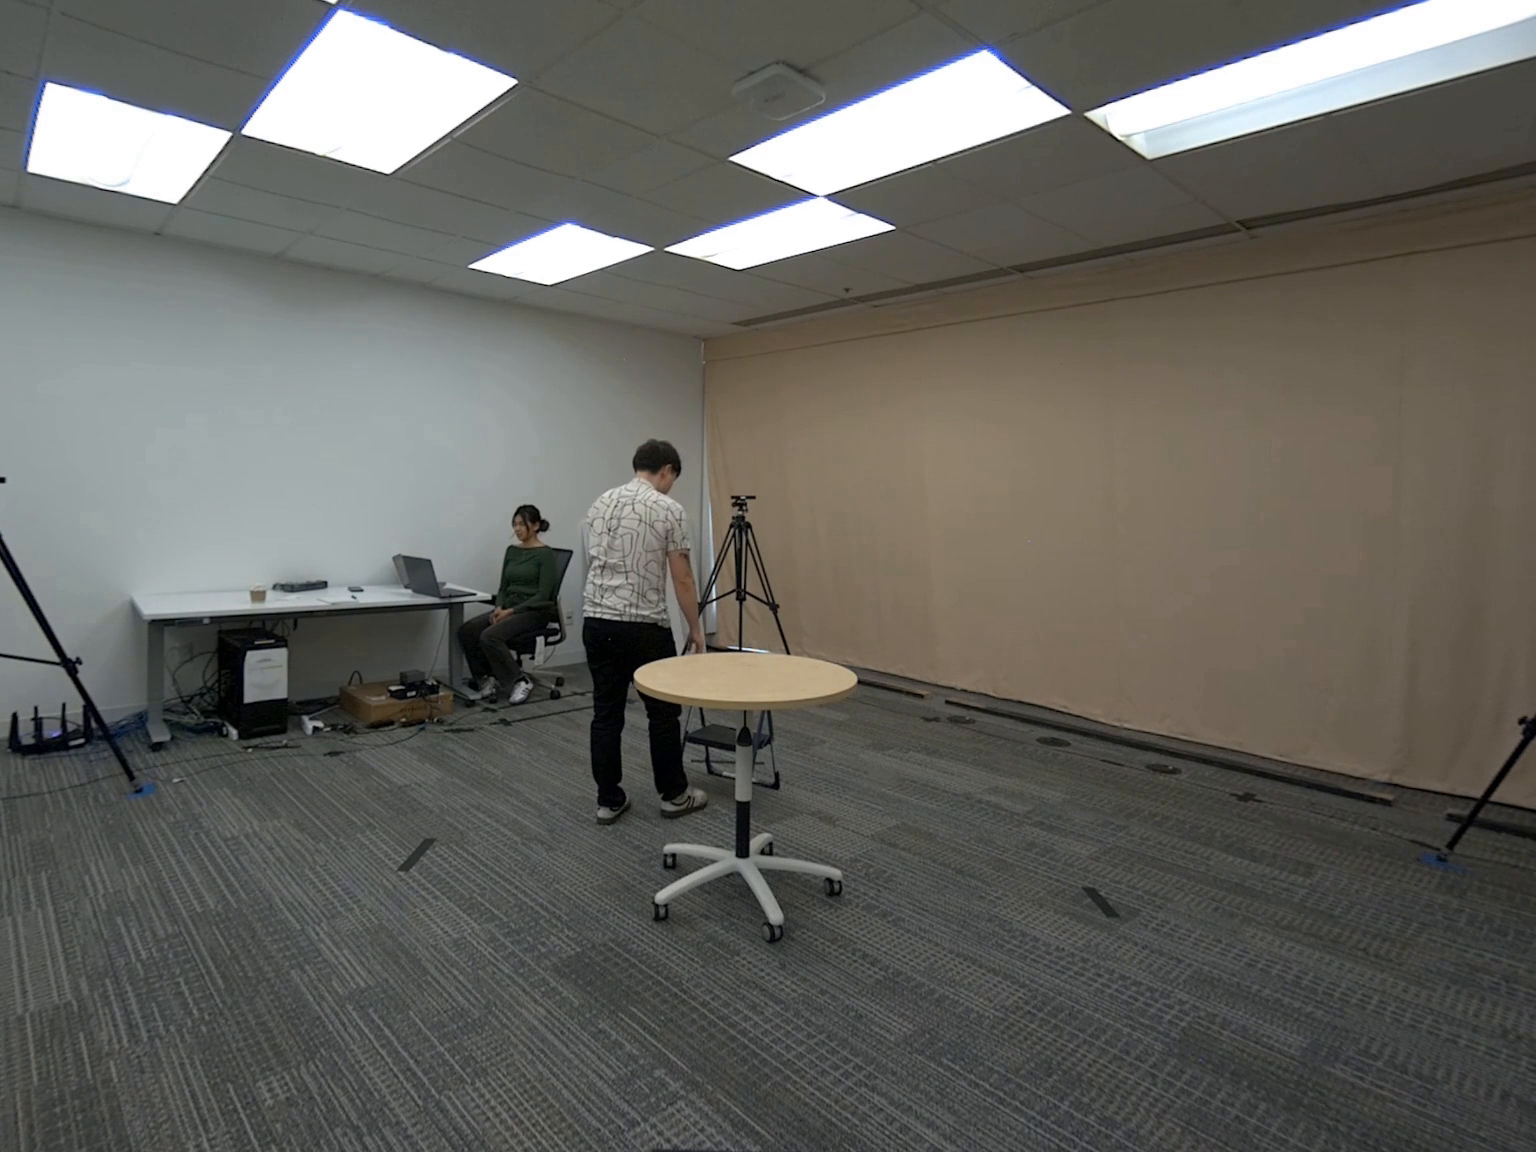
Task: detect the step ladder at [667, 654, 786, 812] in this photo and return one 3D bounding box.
[{"bbox_3d":[-0.203,0.719,4.009,0.440,0.605,0.342,3,3,31],"label":"step ladder"}]
